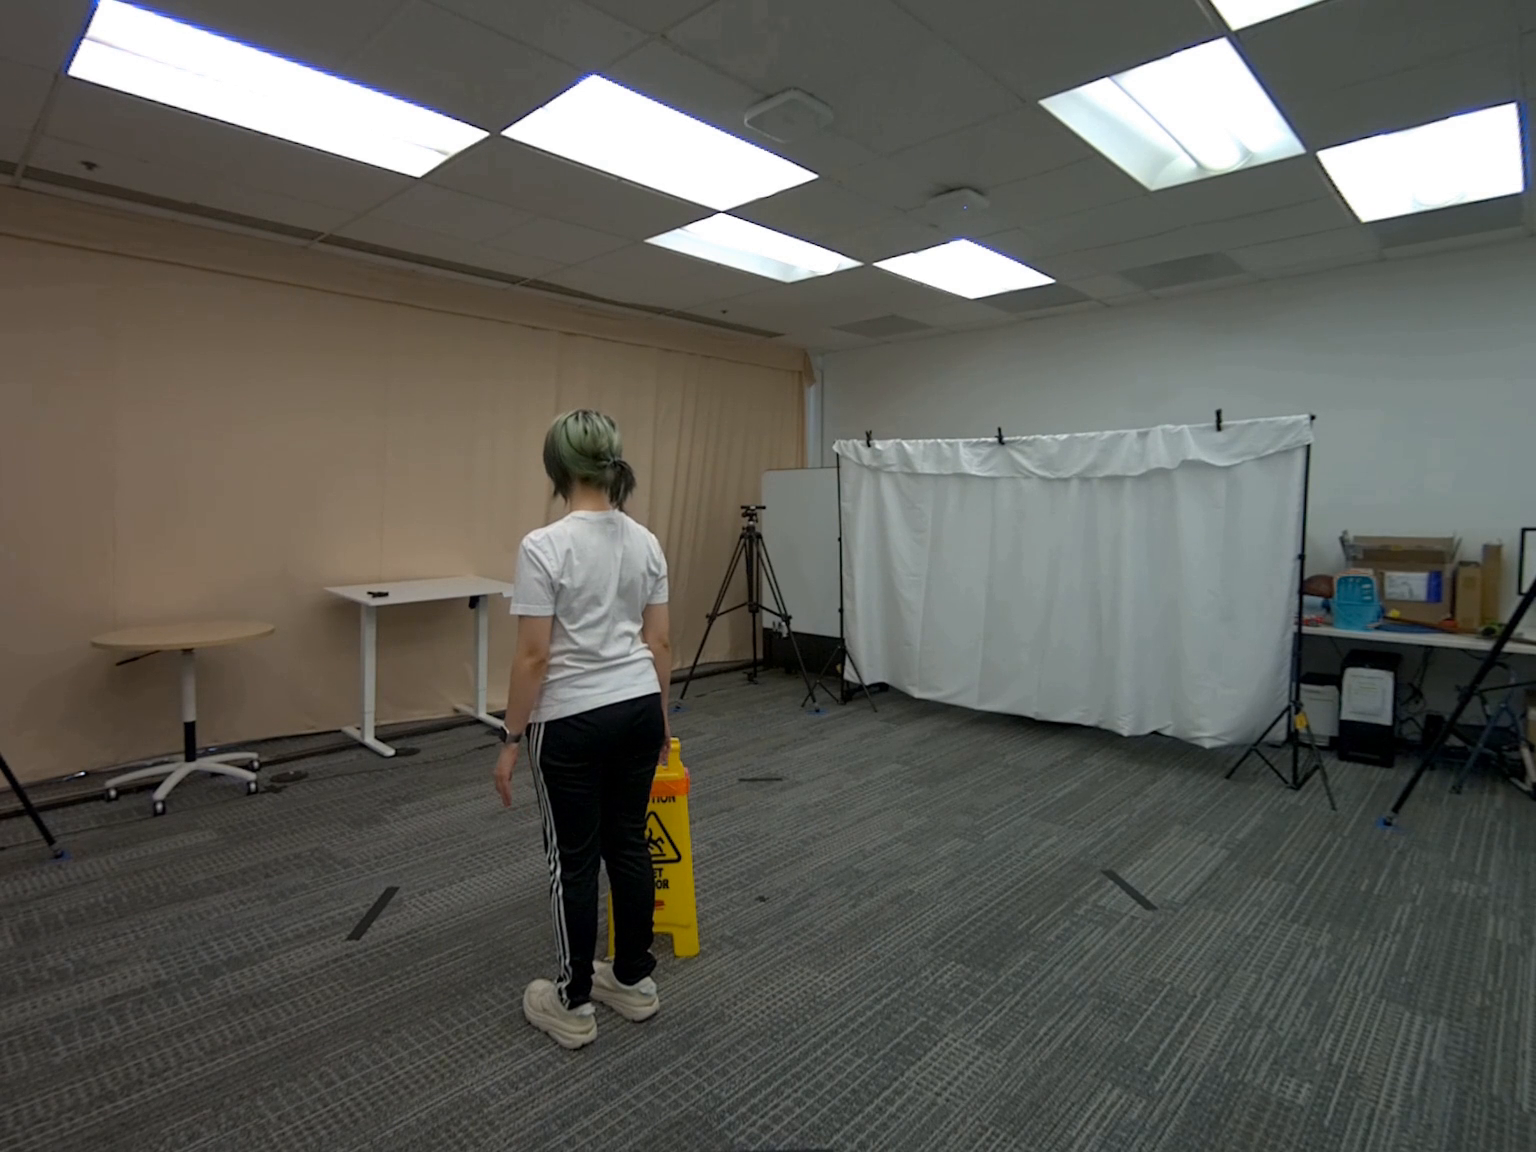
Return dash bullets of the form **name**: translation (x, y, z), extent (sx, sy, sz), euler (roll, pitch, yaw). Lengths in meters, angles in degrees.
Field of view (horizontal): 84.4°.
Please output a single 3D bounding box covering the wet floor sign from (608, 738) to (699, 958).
- **wet floor sign**: translation (-0.380, 0.848, 2.692), extent (0.280, 0.644, 0.293), euler (-1, 4, -8)
